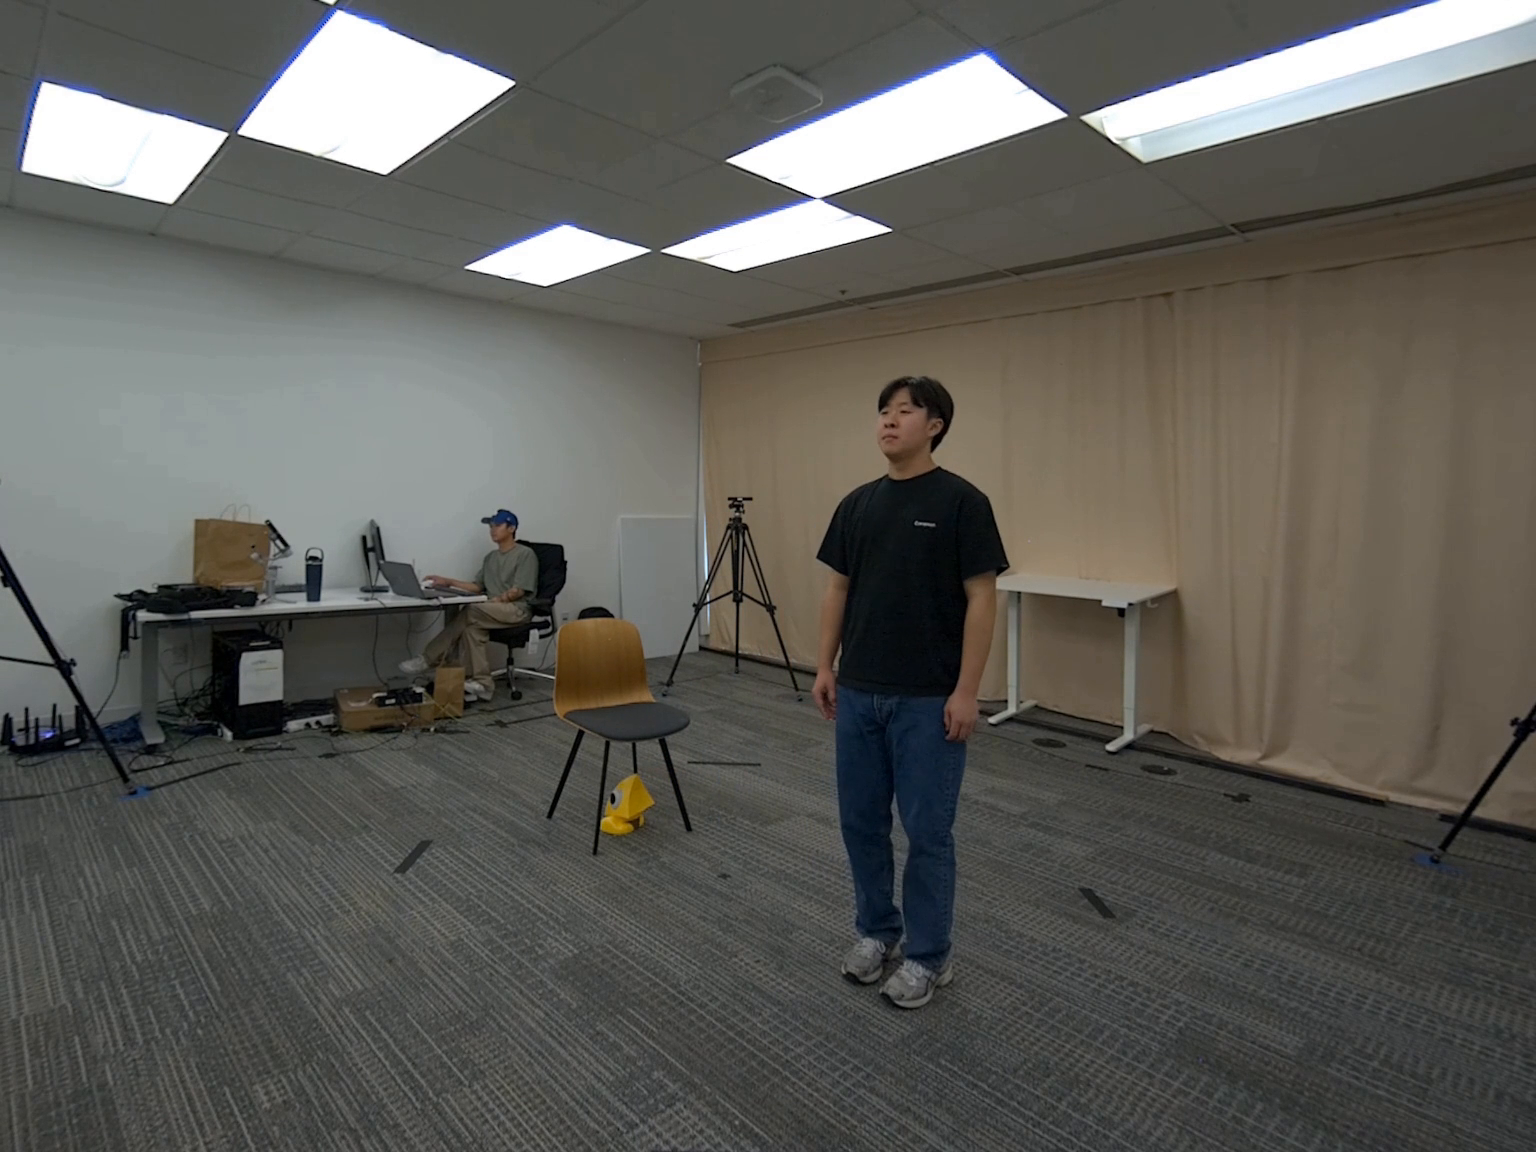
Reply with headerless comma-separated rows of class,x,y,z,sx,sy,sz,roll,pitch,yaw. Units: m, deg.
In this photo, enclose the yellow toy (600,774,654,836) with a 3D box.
yellow toy,-0.618,0.944,3.562,0.197,0.230,0.201,5,4,24
